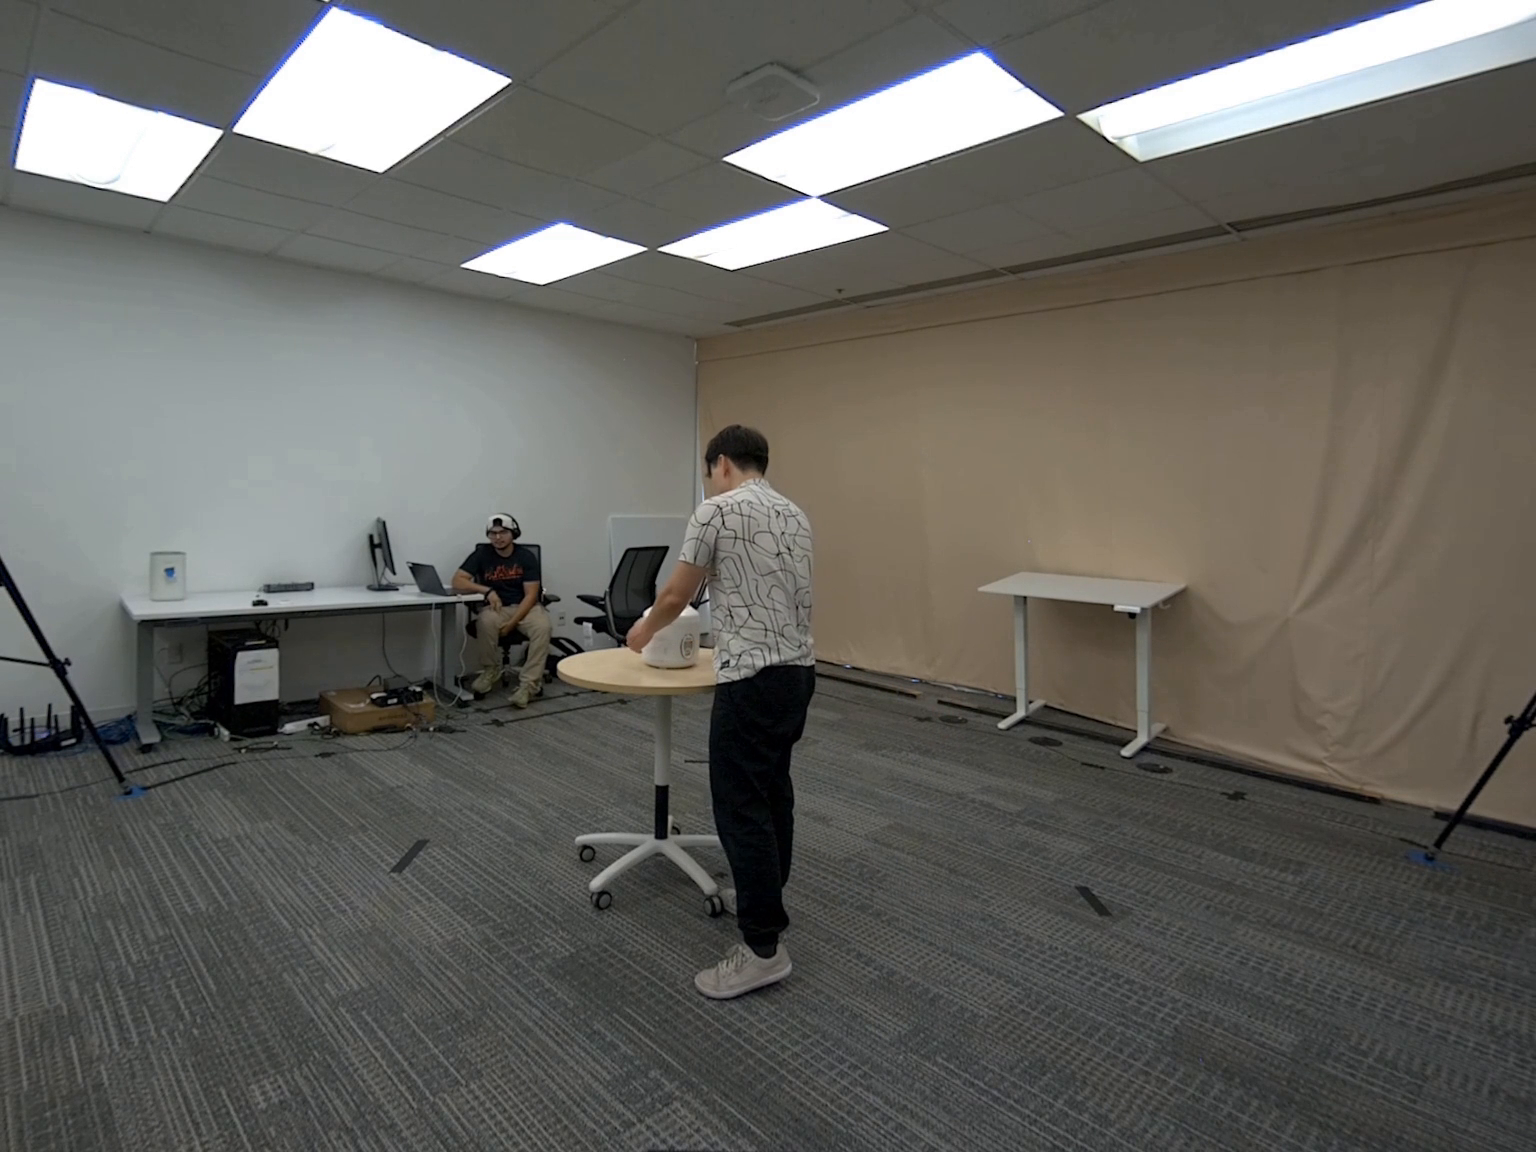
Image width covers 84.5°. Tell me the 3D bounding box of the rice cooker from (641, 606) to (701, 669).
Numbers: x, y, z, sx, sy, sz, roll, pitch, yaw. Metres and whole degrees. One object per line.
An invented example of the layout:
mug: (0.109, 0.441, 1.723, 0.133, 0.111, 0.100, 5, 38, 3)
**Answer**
rice cooker: (-0.359, 0.210, 3.045, 0.216, 0.232, 0.223, -4, 4, -41)
